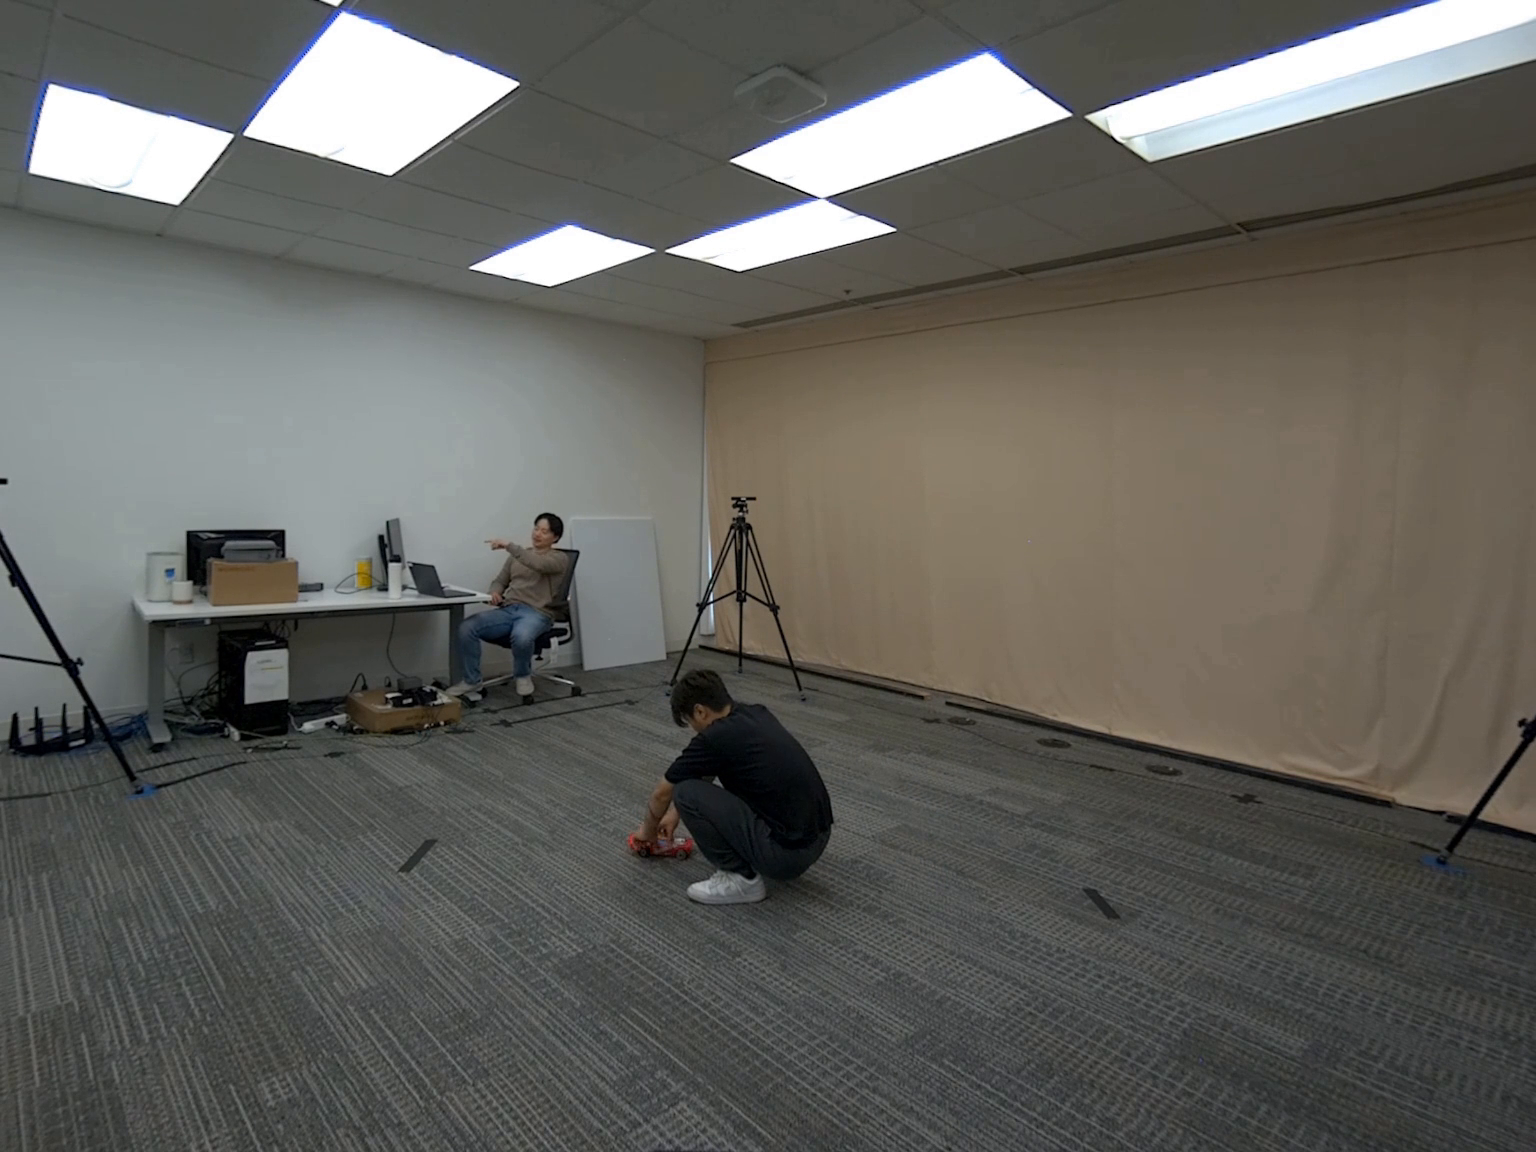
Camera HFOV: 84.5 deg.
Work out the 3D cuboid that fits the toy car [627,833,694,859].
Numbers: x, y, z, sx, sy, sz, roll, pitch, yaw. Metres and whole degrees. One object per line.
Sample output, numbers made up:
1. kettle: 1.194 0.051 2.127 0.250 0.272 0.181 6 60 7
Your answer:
1. toy car: -0.431 1.048 3.296 0.255 0.083 0.130 11 4 4
